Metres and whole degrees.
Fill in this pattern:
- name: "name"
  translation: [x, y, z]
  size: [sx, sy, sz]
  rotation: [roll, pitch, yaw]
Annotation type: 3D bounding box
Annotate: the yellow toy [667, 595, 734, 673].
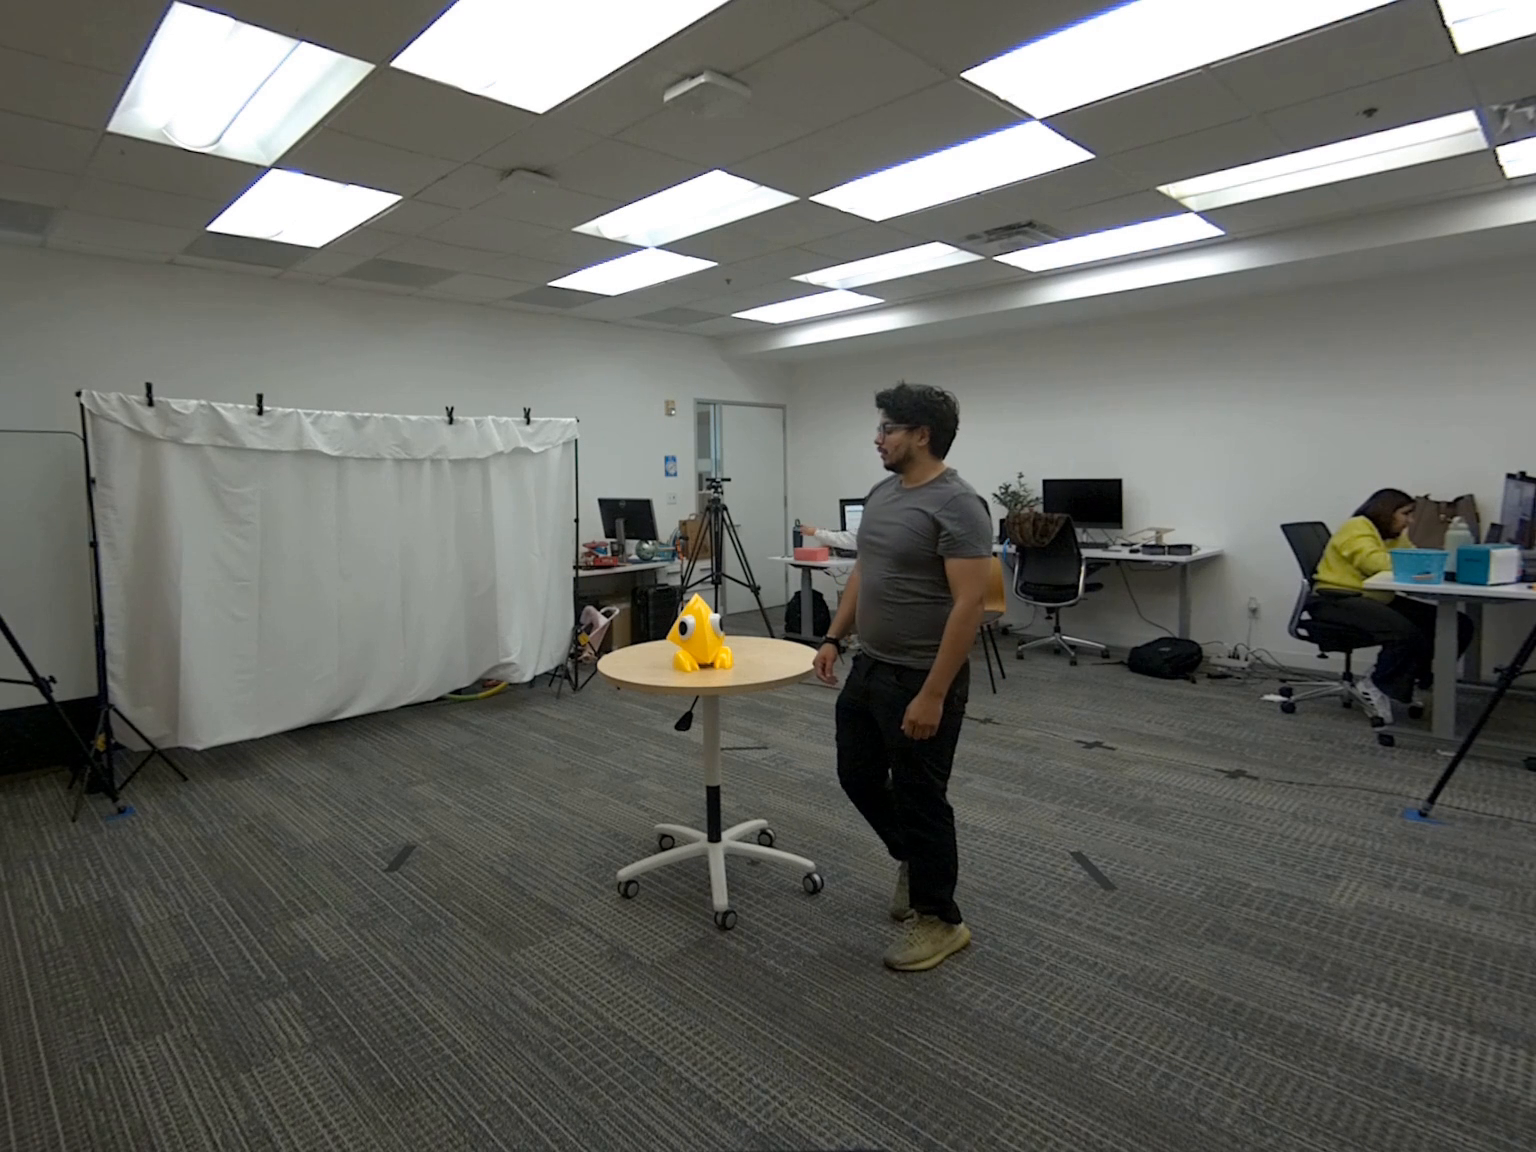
- name: "yellow toy"
  translation: [-0.216, 0.179, 2.835]
  size: [0.202, 0.230, 0.196]
  rotation: [-3, 5, -16]
